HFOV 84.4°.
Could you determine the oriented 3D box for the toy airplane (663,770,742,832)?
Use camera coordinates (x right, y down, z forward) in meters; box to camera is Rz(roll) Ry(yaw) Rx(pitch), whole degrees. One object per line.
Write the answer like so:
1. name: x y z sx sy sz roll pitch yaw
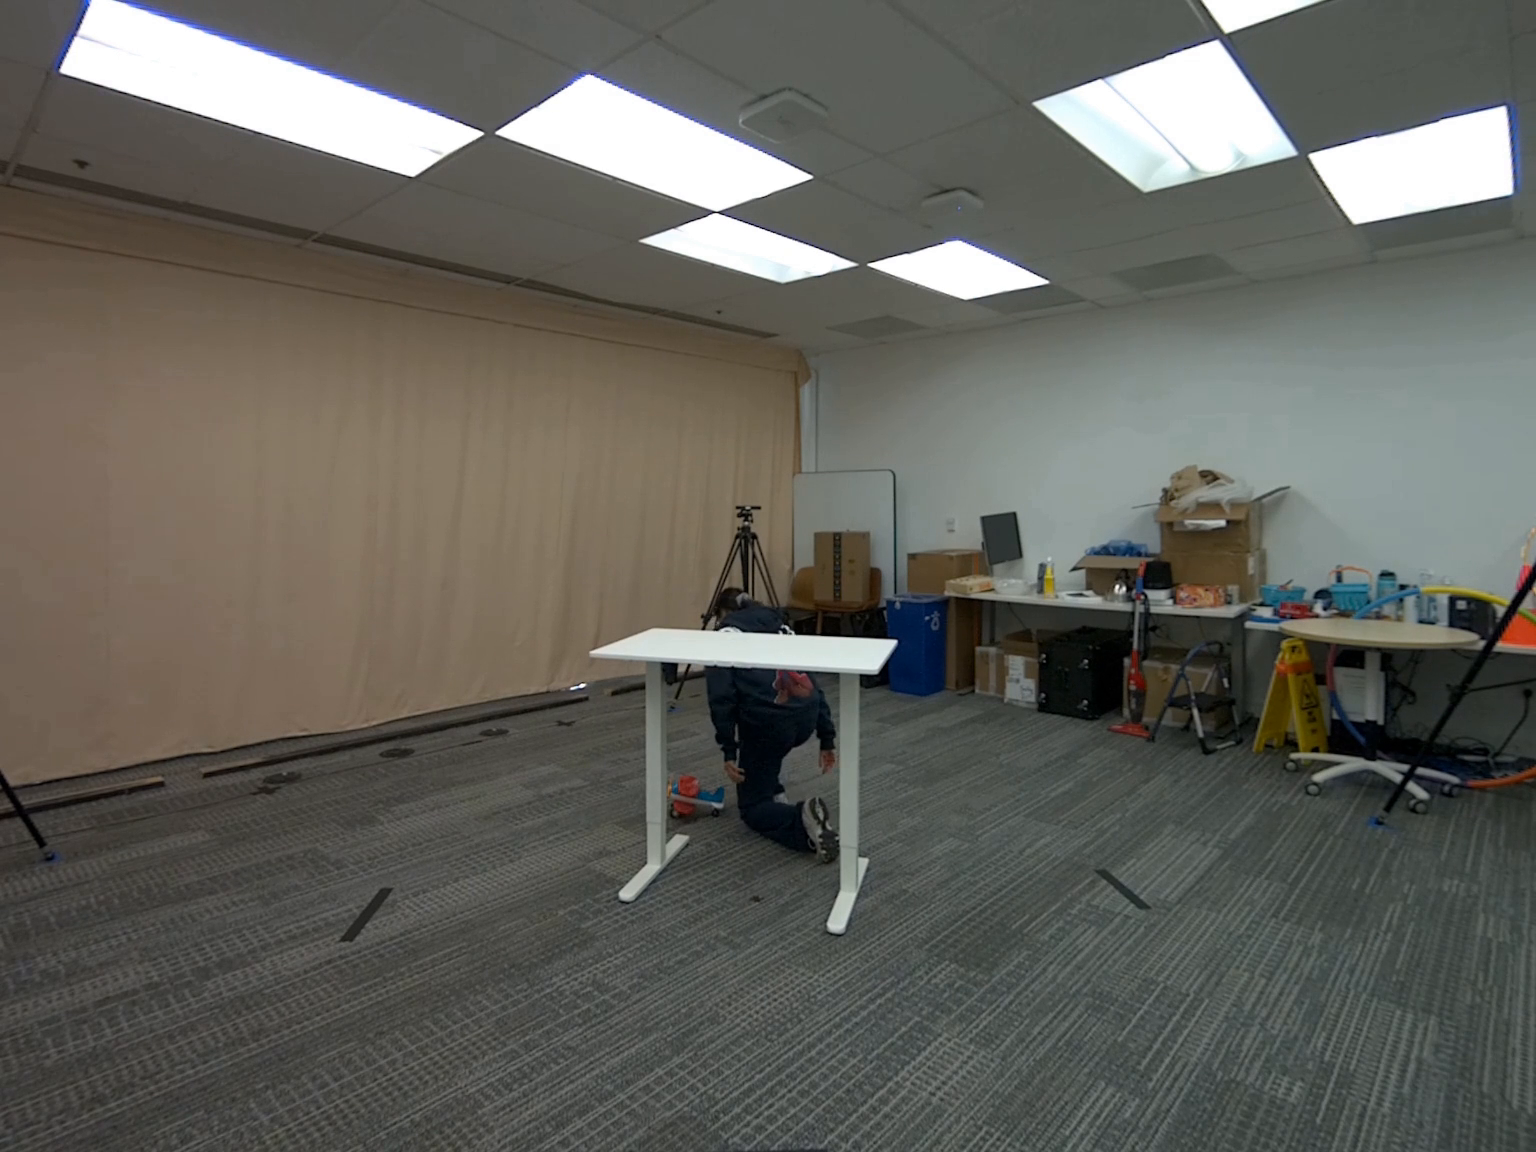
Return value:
1. toy airplane: -0.299 1.008 3.826 0.252 0.156 0.259 -1 5 -34
